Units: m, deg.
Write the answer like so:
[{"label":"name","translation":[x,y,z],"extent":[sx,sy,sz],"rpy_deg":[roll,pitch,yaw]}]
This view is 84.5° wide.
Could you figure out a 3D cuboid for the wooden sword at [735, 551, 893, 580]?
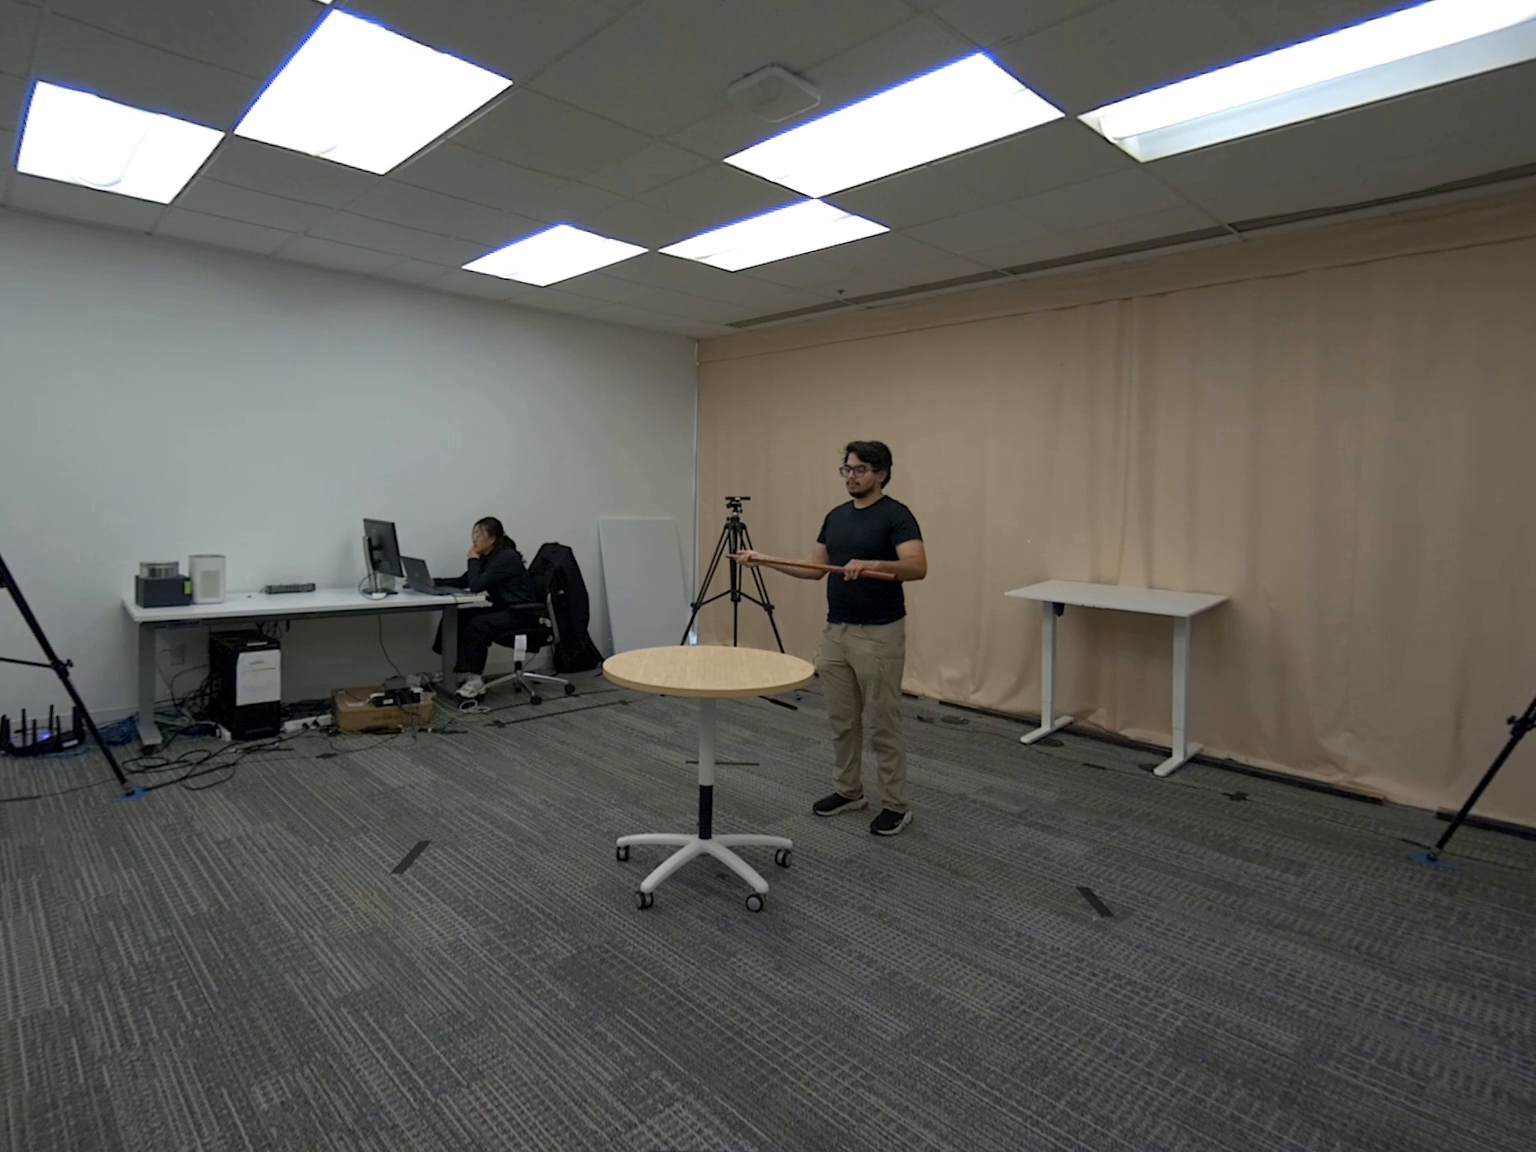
[{"label":"wooden sword","translation":[0.213,-0.033,3.364],"extent":[1.051,0.051,0.023],"rpy_deg":[6,-14,46]}]
